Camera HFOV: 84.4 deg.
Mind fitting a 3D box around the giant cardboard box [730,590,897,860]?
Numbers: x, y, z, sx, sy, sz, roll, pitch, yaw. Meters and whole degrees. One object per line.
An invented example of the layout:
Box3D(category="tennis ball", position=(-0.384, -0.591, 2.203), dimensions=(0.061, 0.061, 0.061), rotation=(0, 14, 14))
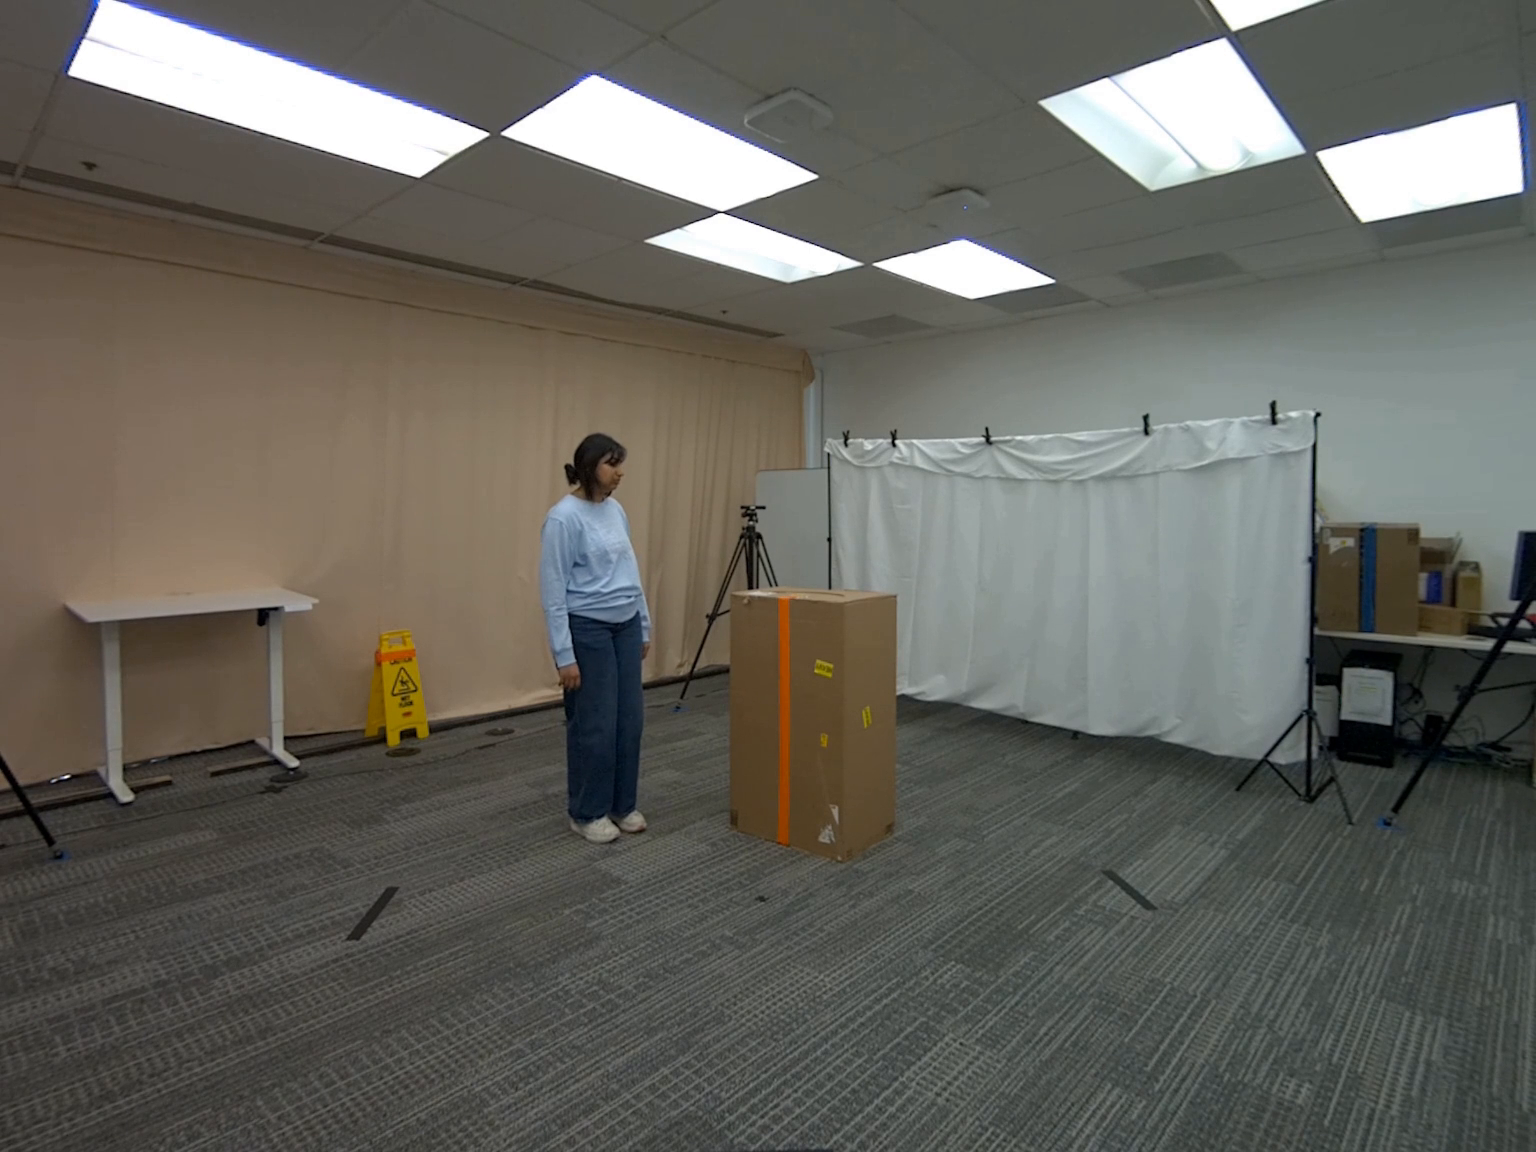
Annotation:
Box3D(category="giant cardboard box", position=(0.191, 0.582, 3.591), dimensions=(0.603, 1.025, 0.433), rotation=(3, 4, 40))
